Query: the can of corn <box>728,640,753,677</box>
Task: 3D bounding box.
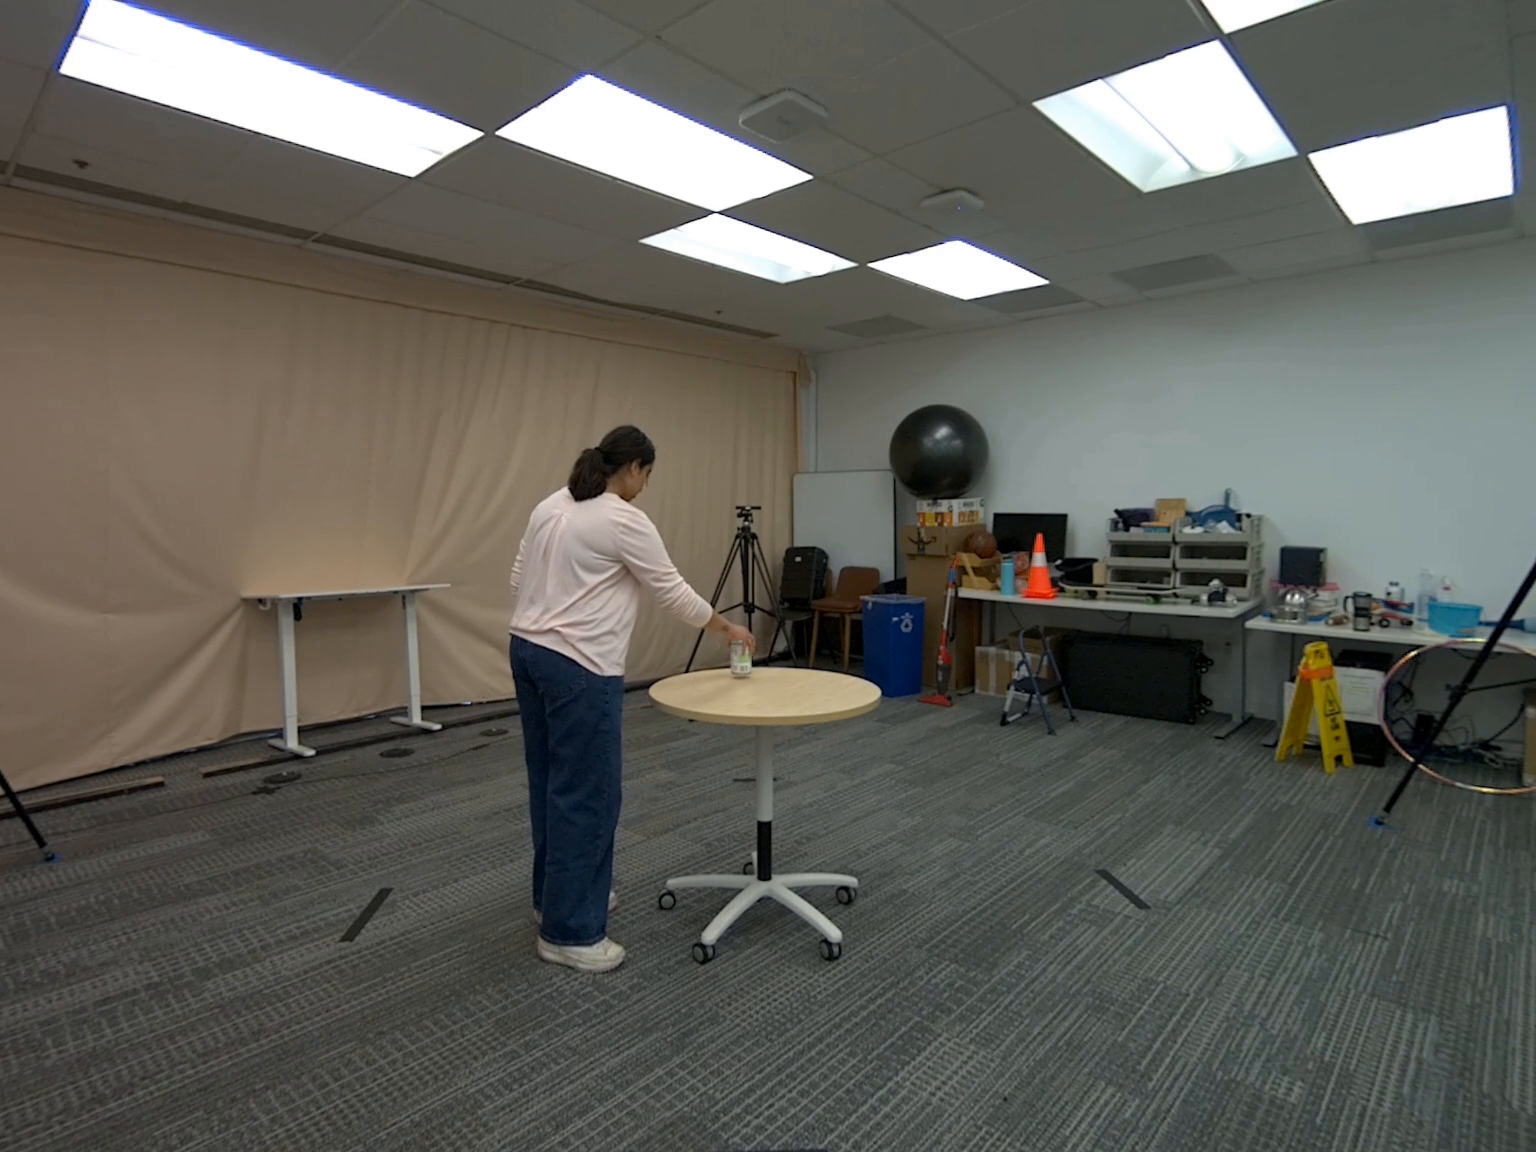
[{"bbox_3d":[-0.095,0.293,2.983,0.074,0.110,0.074,-3,8,-1],"label":"can of corn"}]
